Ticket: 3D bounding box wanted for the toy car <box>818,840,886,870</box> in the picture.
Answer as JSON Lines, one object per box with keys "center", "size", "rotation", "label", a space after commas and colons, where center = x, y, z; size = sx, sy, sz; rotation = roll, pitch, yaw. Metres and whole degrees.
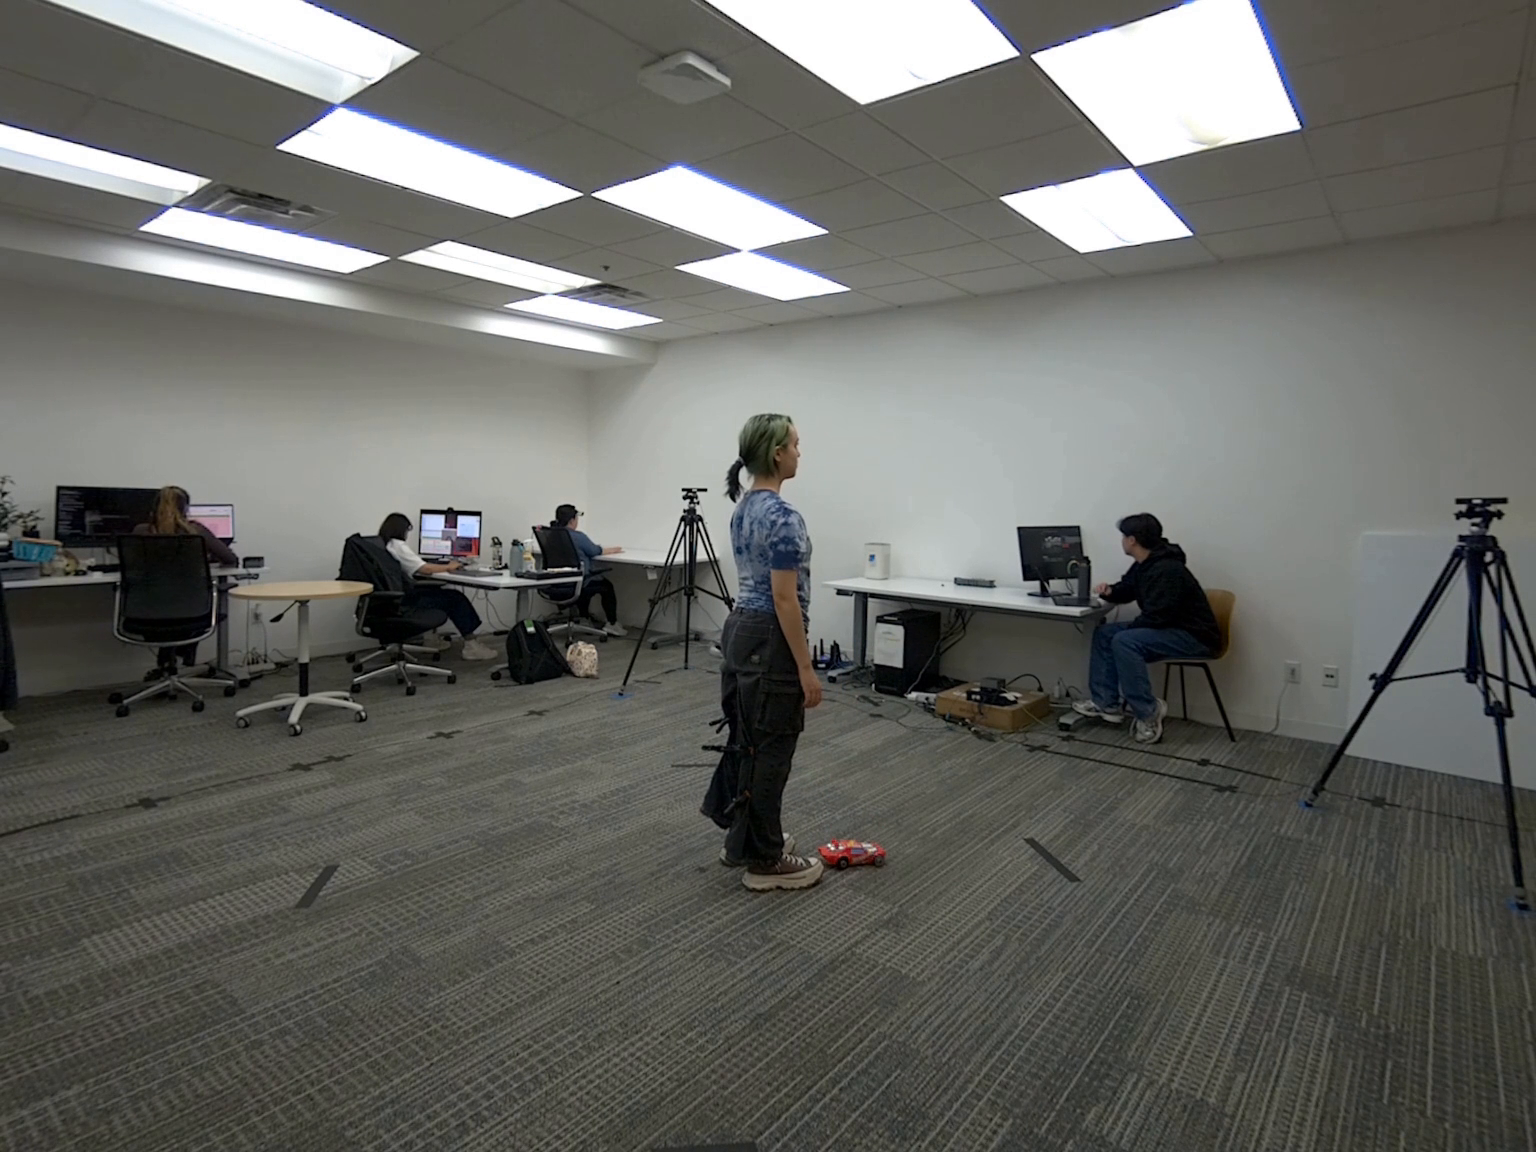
{"center": [0.307, 1.043, 3.190], "size": [0.250, 0.083, 0.133], "rotation": [10, 3, -15], "label": "toy car"}
